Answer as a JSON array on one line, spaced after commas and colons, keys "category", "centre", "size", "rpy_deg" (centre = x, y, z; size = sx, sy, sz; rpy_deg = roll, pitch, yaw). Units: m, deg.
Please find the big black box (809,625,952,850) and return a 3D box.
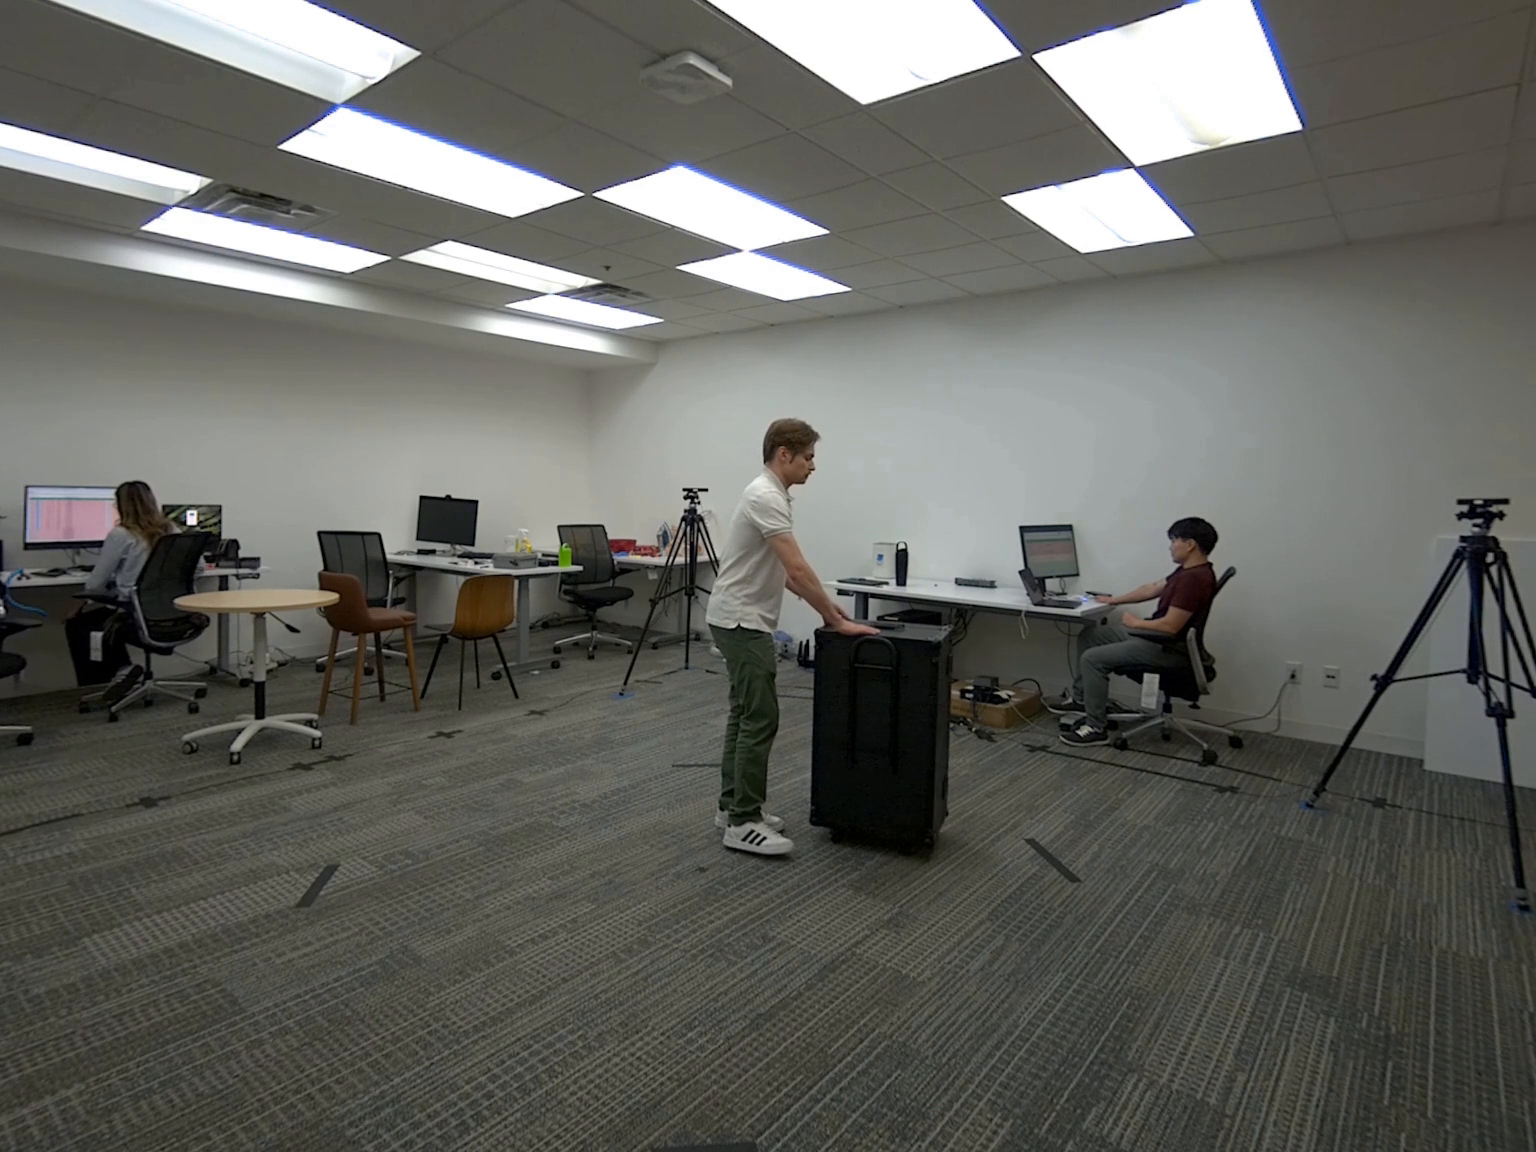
[{"category": "big black box", "centre": [0.461, 0.636, 3.403], "size": [0.535, 0.865, 0.378], "rpy_deg": [3, 5, 21]}]
